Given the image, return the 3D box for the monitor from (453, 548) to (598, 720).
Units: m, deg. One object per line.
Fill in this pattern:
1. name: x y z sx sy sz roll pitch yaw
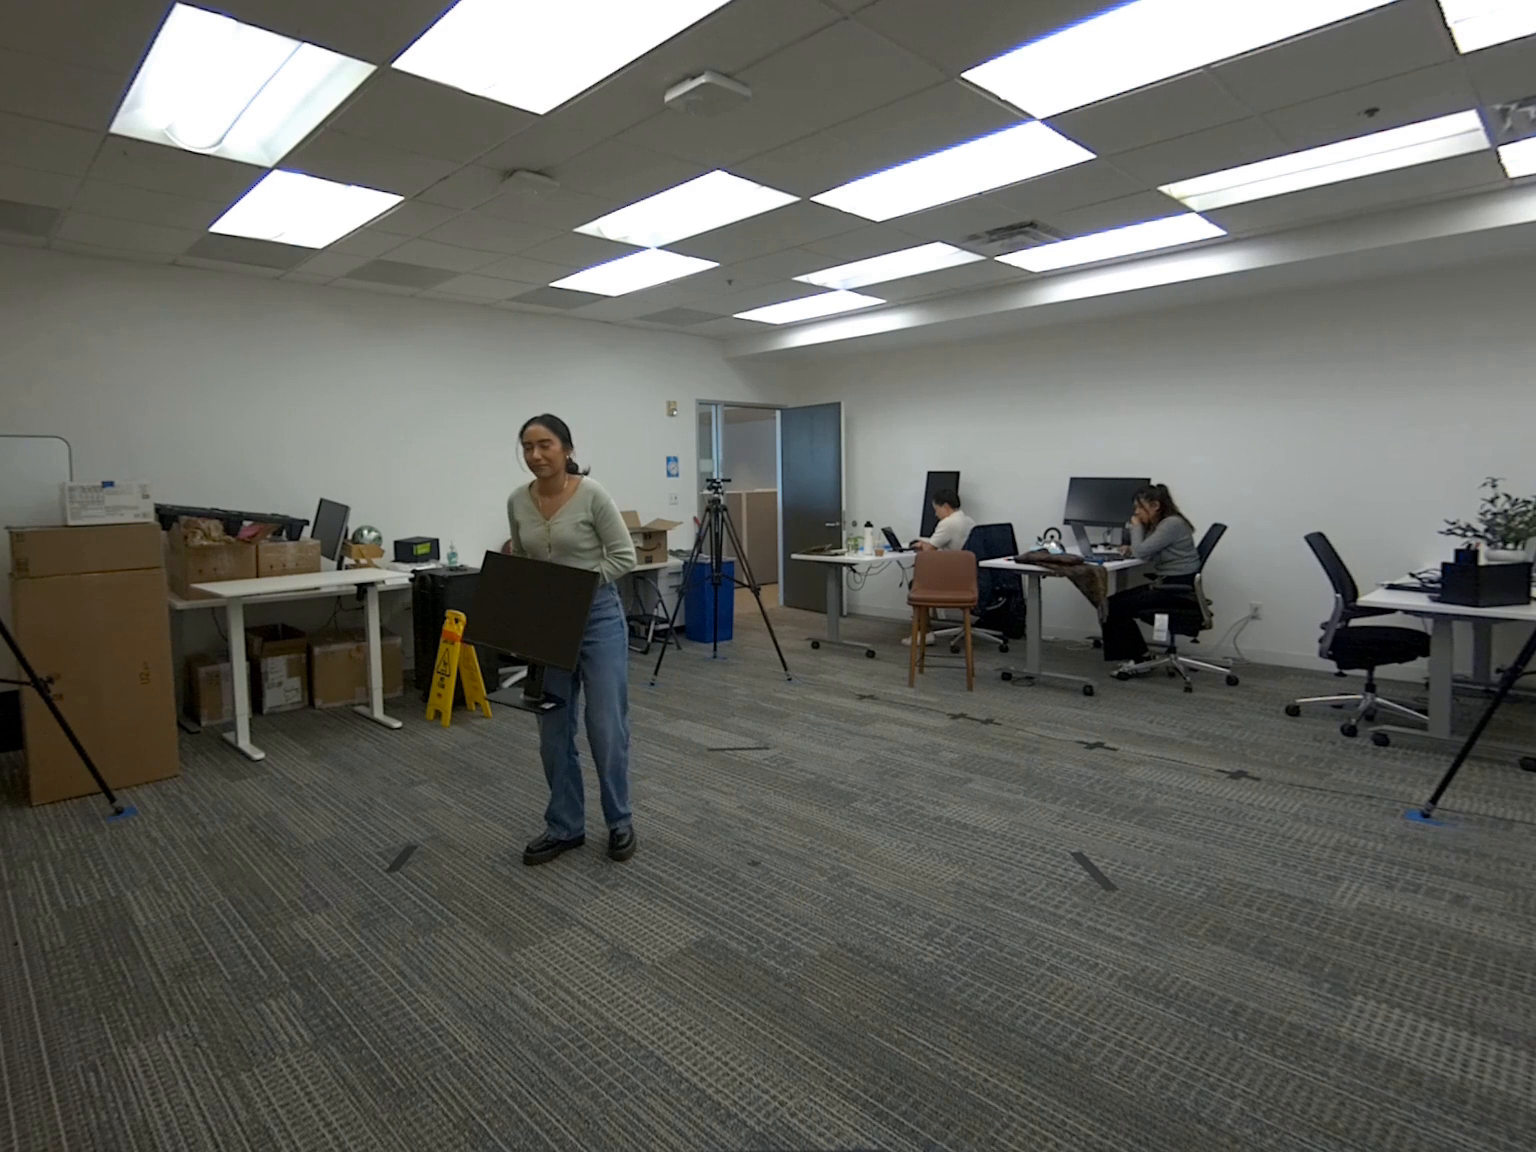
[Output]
1. monitor: -0.862 0.198 3.057 0.544 0.512 0.171 9 9 27
